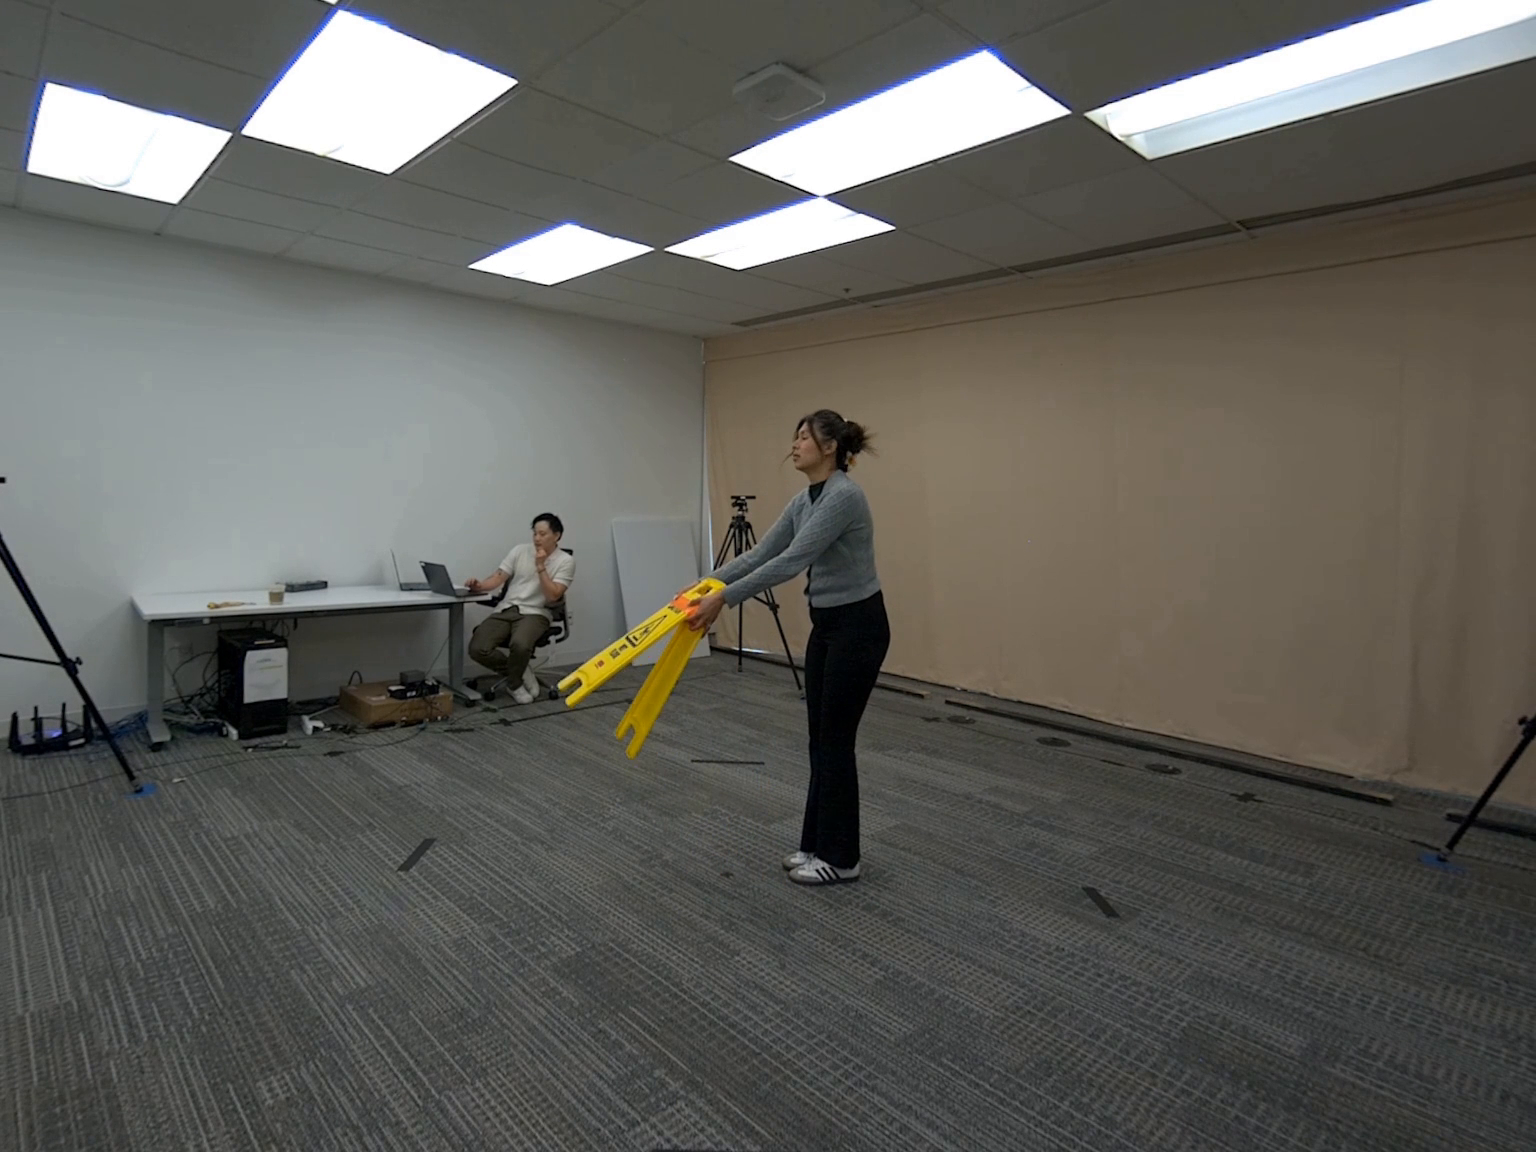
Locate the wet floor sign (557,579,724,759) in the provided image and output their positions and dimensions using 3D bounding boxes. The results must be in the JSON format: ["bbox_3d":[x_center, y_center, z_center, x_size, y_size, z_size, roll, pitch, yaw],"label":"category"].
[{"bbox_3d":[-0.395,0.263,2.903,0.284,0.646,0.288,44,-10,-19],"label":"wet floor sign"}]
